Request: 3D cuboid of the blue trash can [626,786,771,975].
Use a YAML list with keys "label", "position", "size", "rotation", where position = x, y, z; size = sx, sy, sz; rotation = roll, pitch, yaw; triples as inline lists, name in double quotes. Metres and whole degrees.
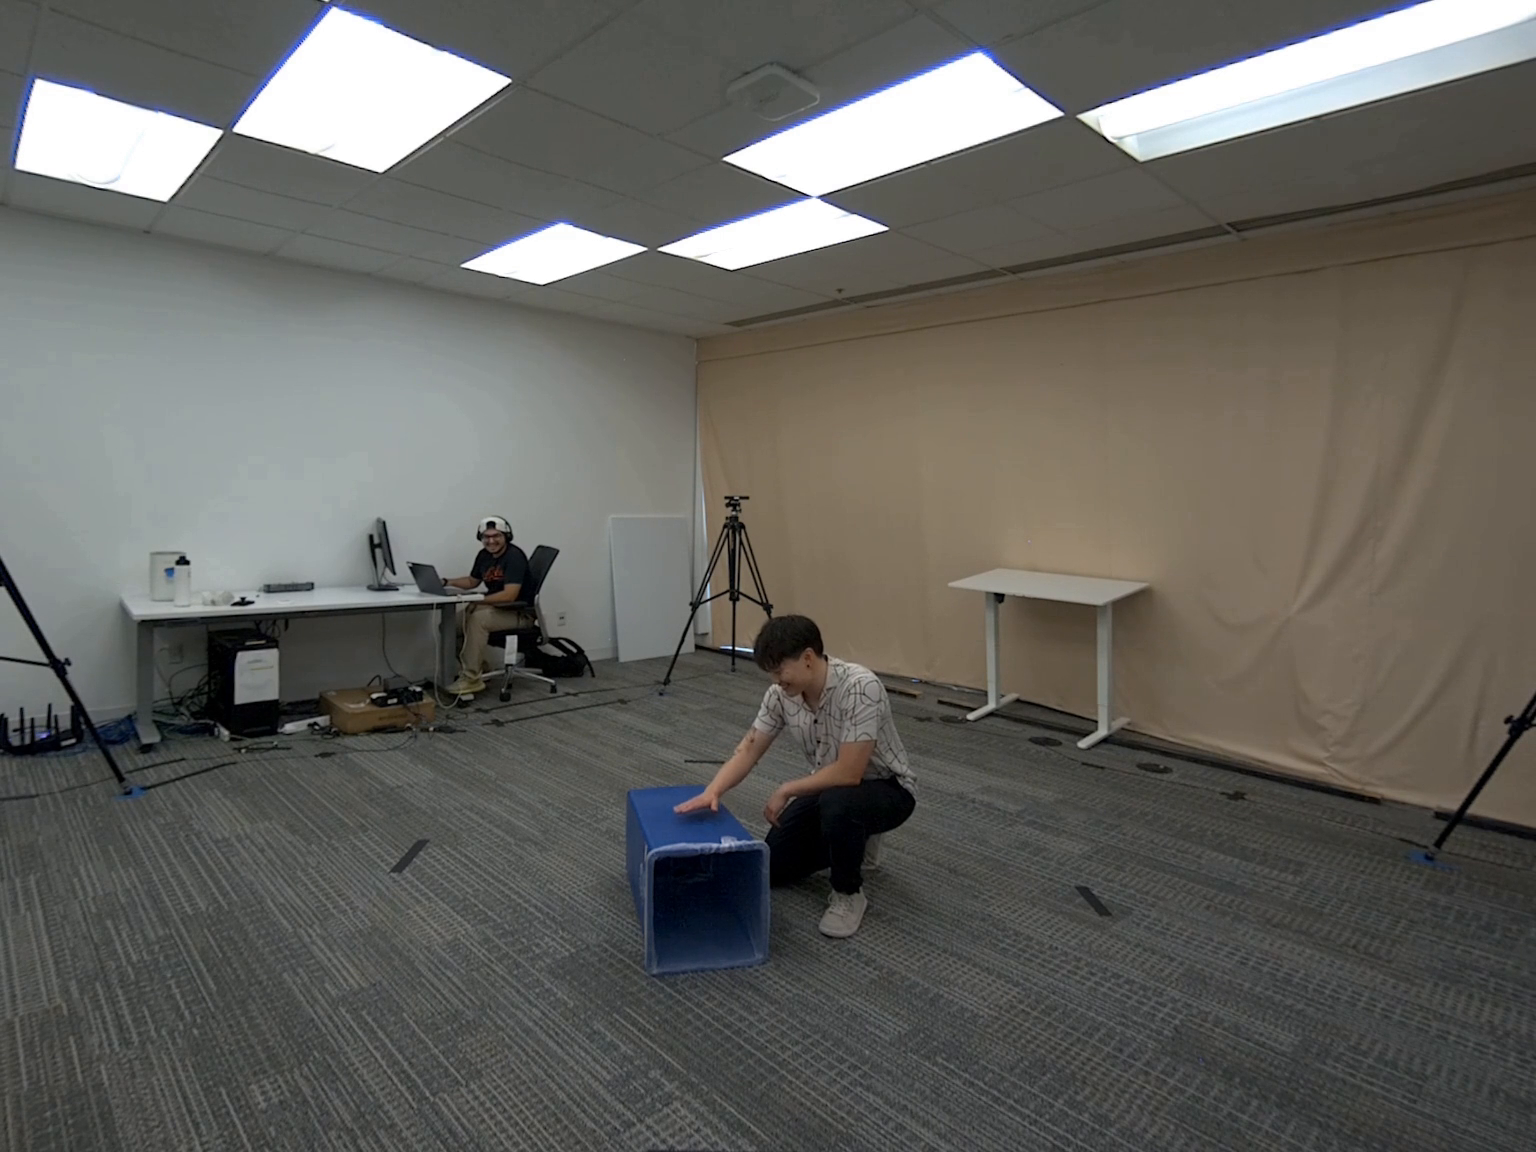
- label: "blue trash can"
  position: [-0.275, 0.960, 2.808]
  size: [0.373, 0.374, 0.722]
  rotation: [1, 1, -16]
